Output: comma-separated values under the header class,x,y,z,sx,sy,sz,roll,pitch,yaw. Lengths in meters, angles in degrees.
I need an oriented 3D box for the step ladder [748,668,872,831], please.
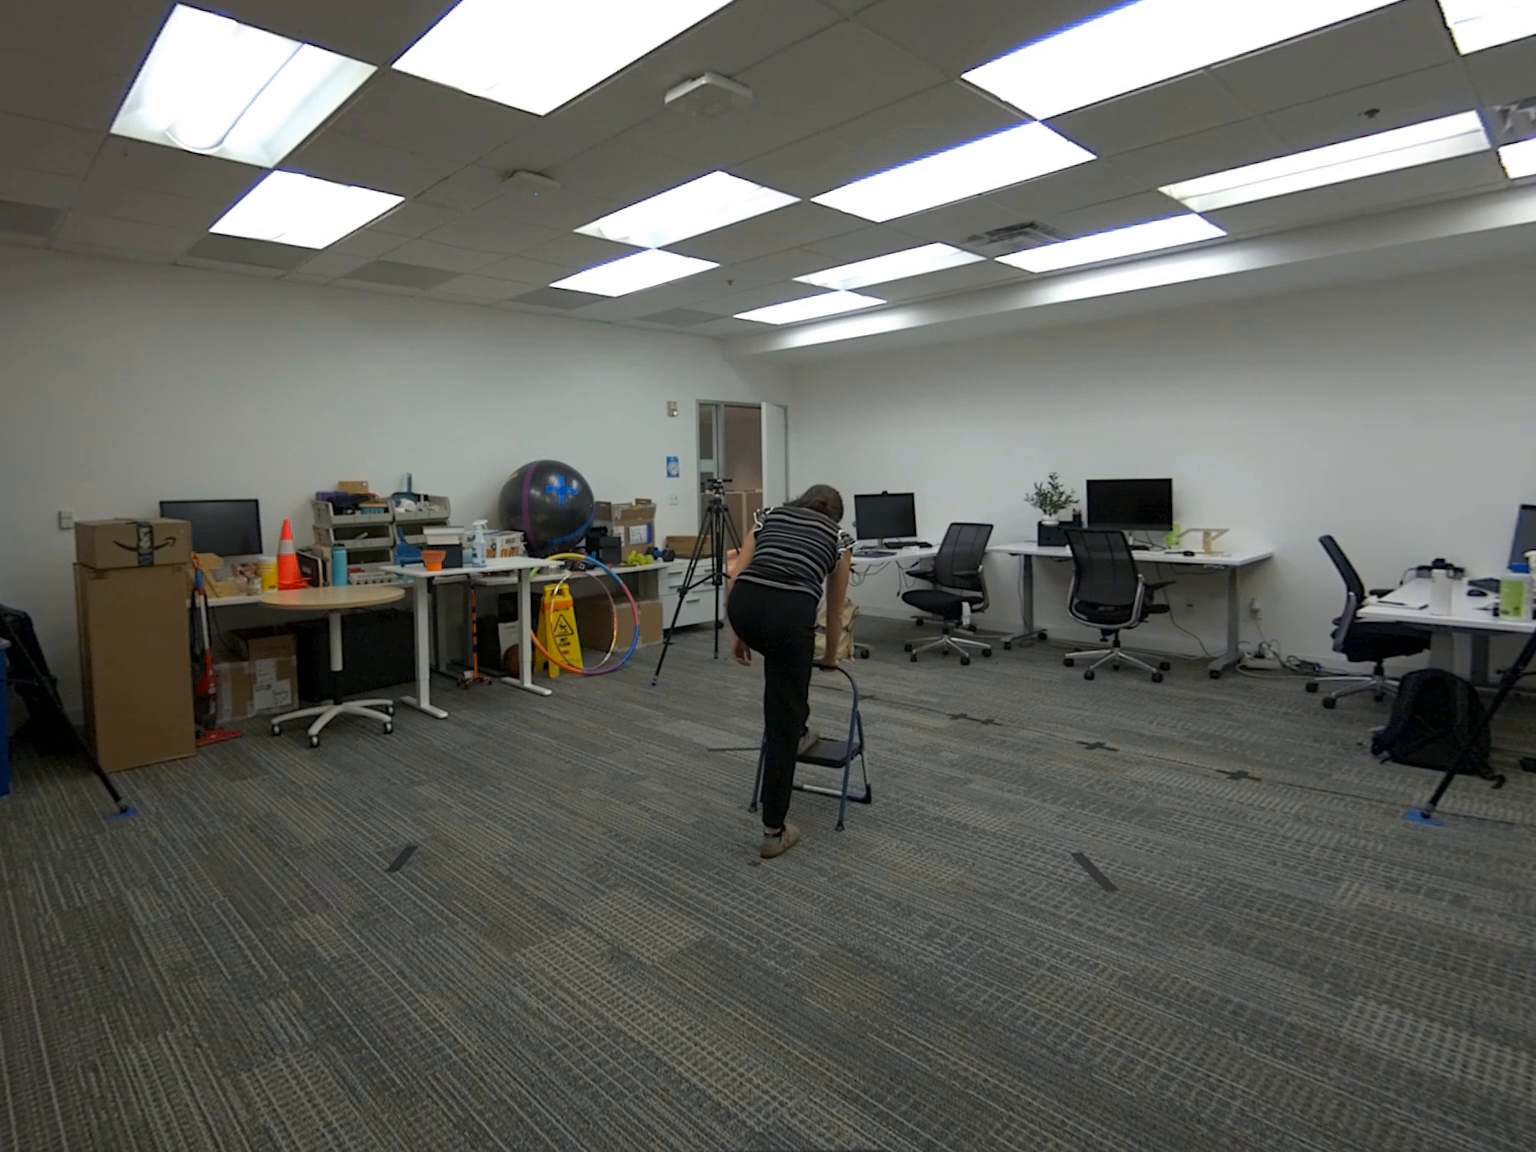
class,x,y,z,sx,sy,sz,roll,pitch,yaw
step ladder,0.185,0.683,3.614,0.442,0.603,0.341,2,6,30
